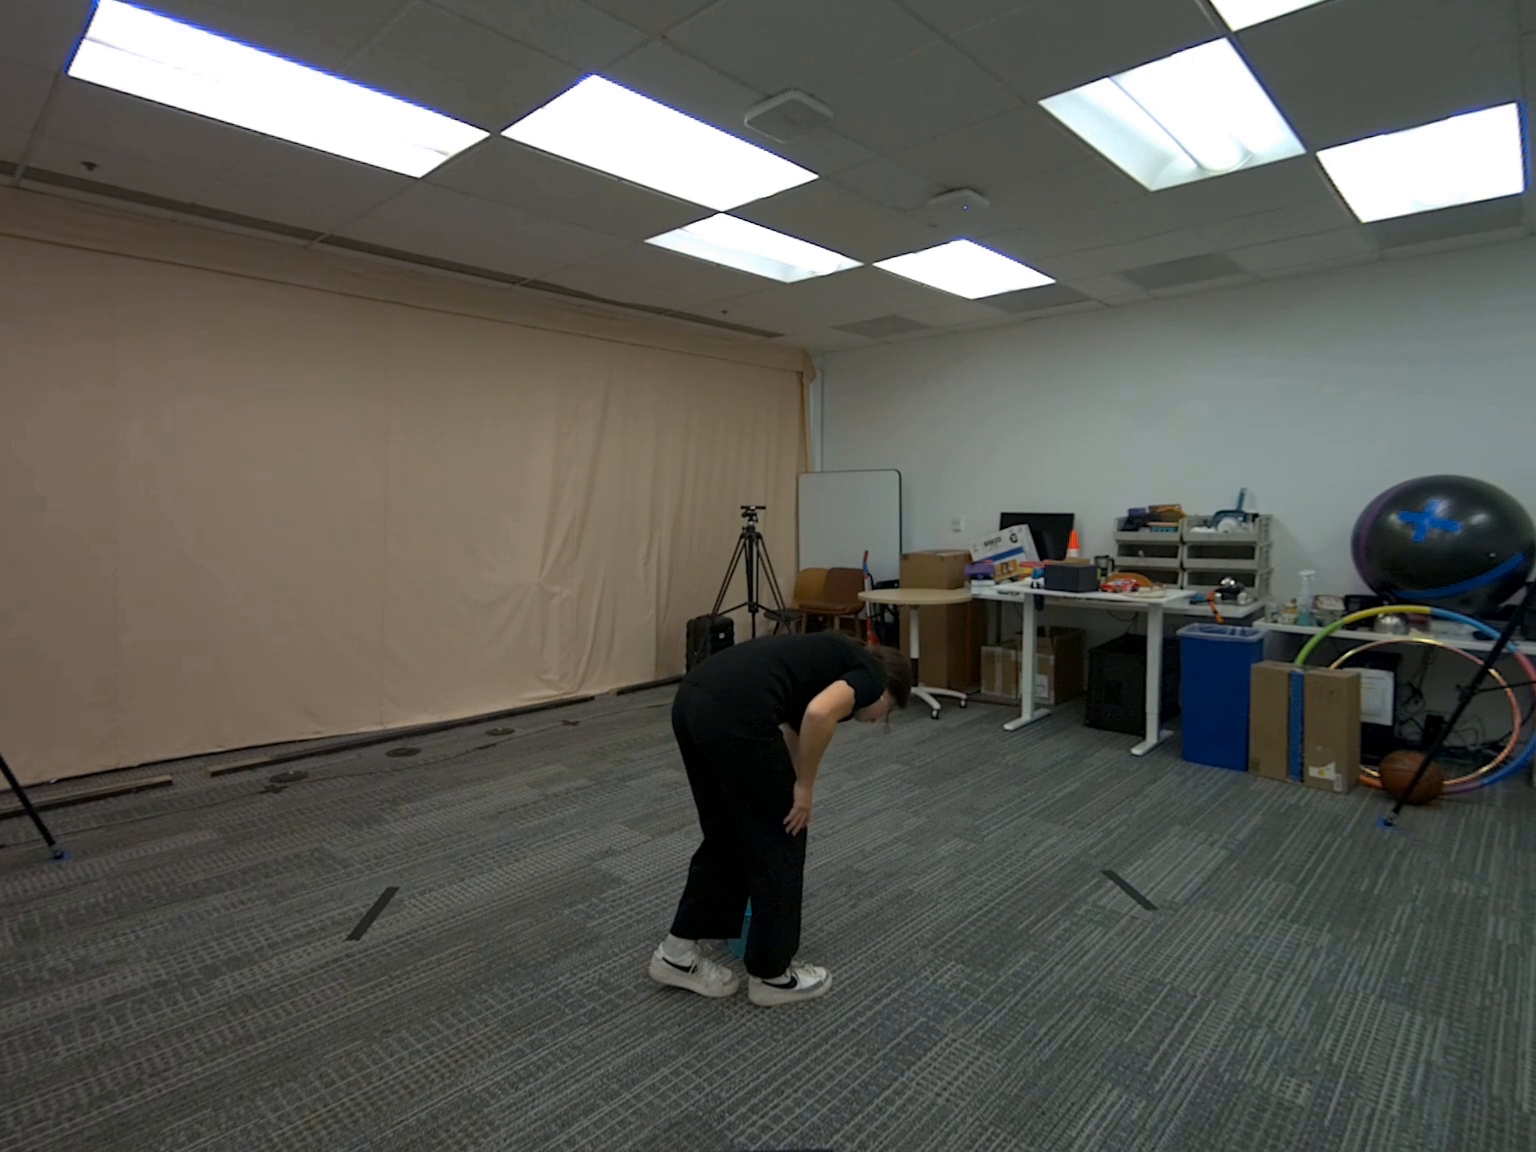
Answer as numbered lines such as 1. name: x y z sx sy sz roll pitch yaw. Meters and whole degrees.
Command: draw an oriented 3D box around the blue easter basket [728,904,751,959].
1. blue easter basket: -0.042 1.085 2.663 0.243 0.155 0.245 -5 8 -1
